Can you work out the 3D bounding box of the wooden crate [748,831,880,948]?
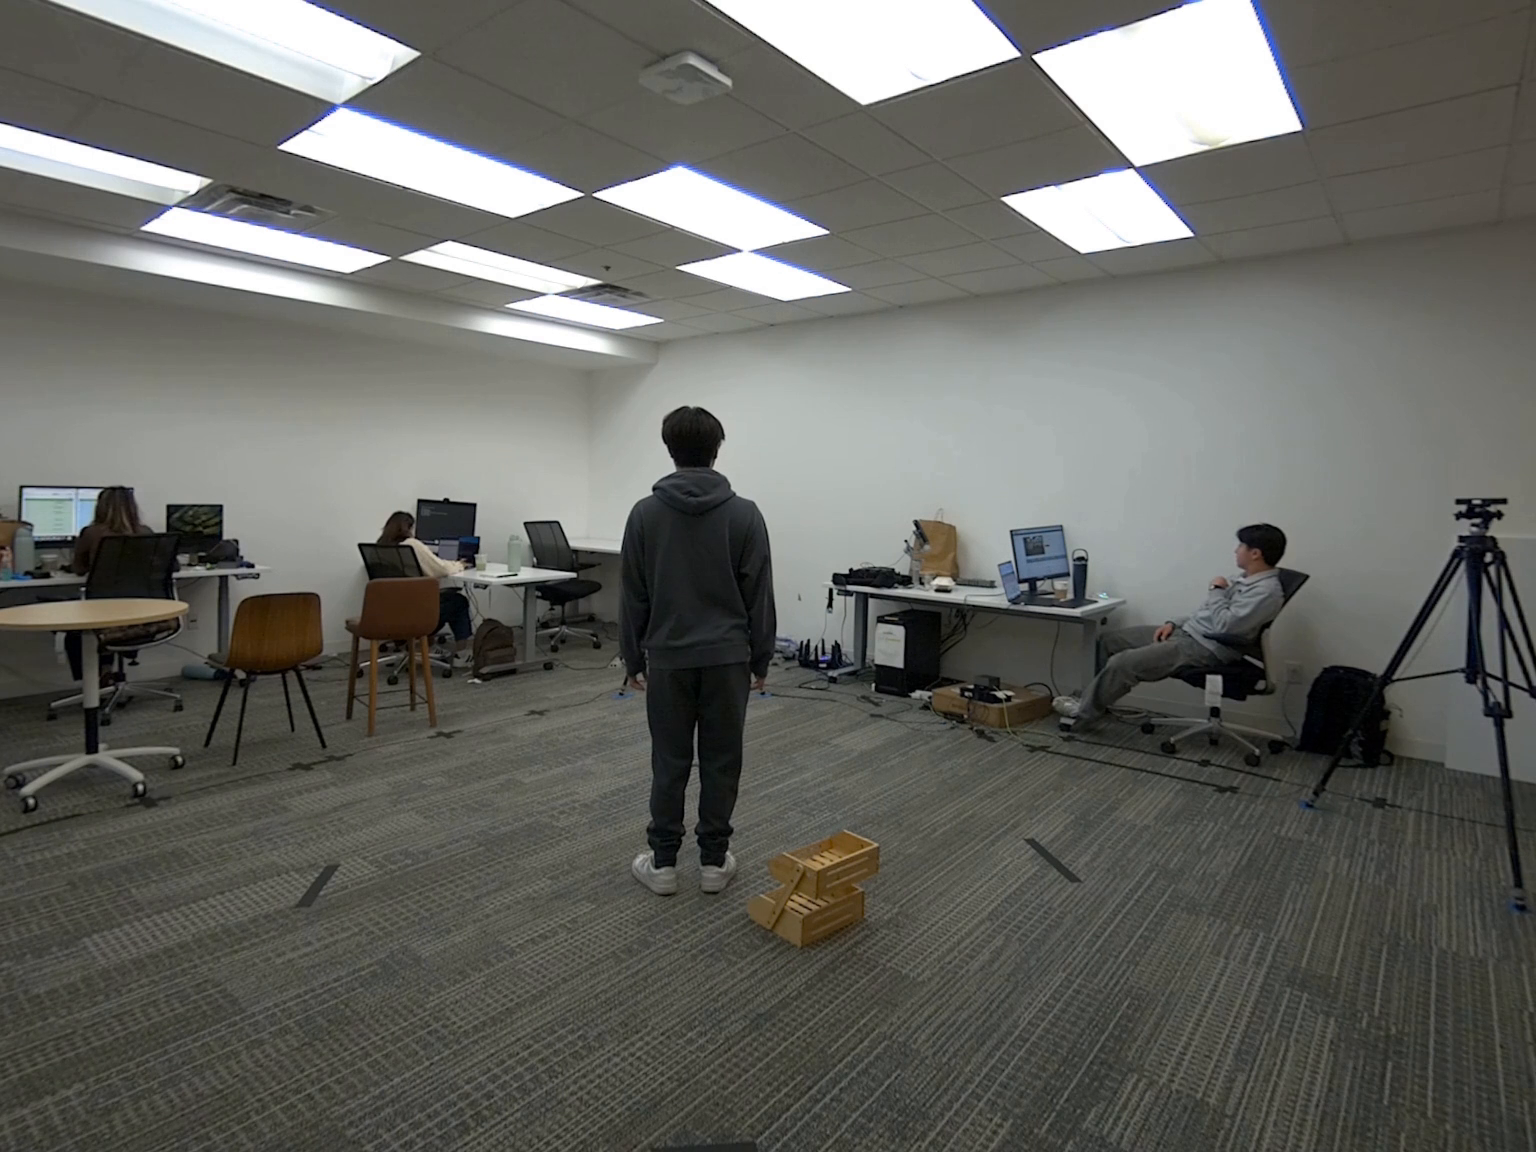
[{"bbox_3d":[0.135,0.978,2.751,0.314,0.272,0.312,-3,7,-44],"label":"wooden crate"}]
